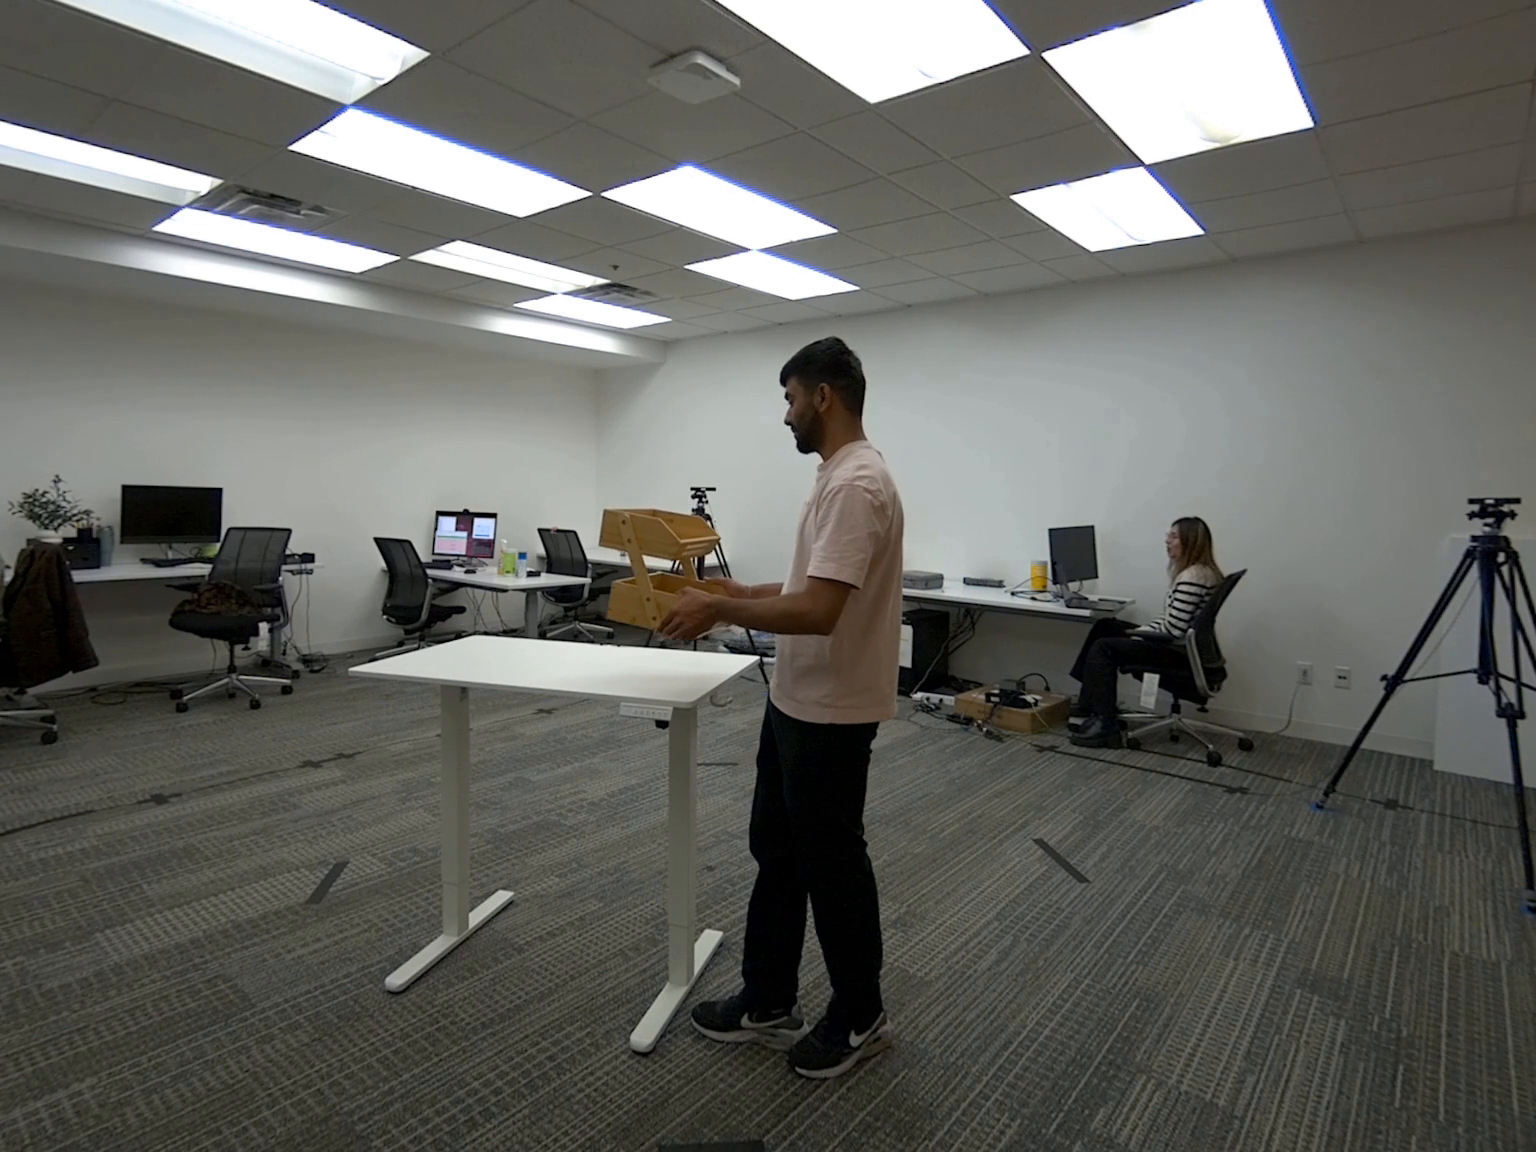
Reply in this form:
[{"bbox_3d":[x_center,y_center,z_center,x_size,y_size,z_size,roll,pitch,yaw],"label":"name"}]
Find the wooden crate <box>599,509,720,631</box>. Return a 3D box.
[{"bbox_3d":[-0.235,-0.024,2.134,0.308,0.272,0.319,8,5,17],"label":"wooden crate"}]
